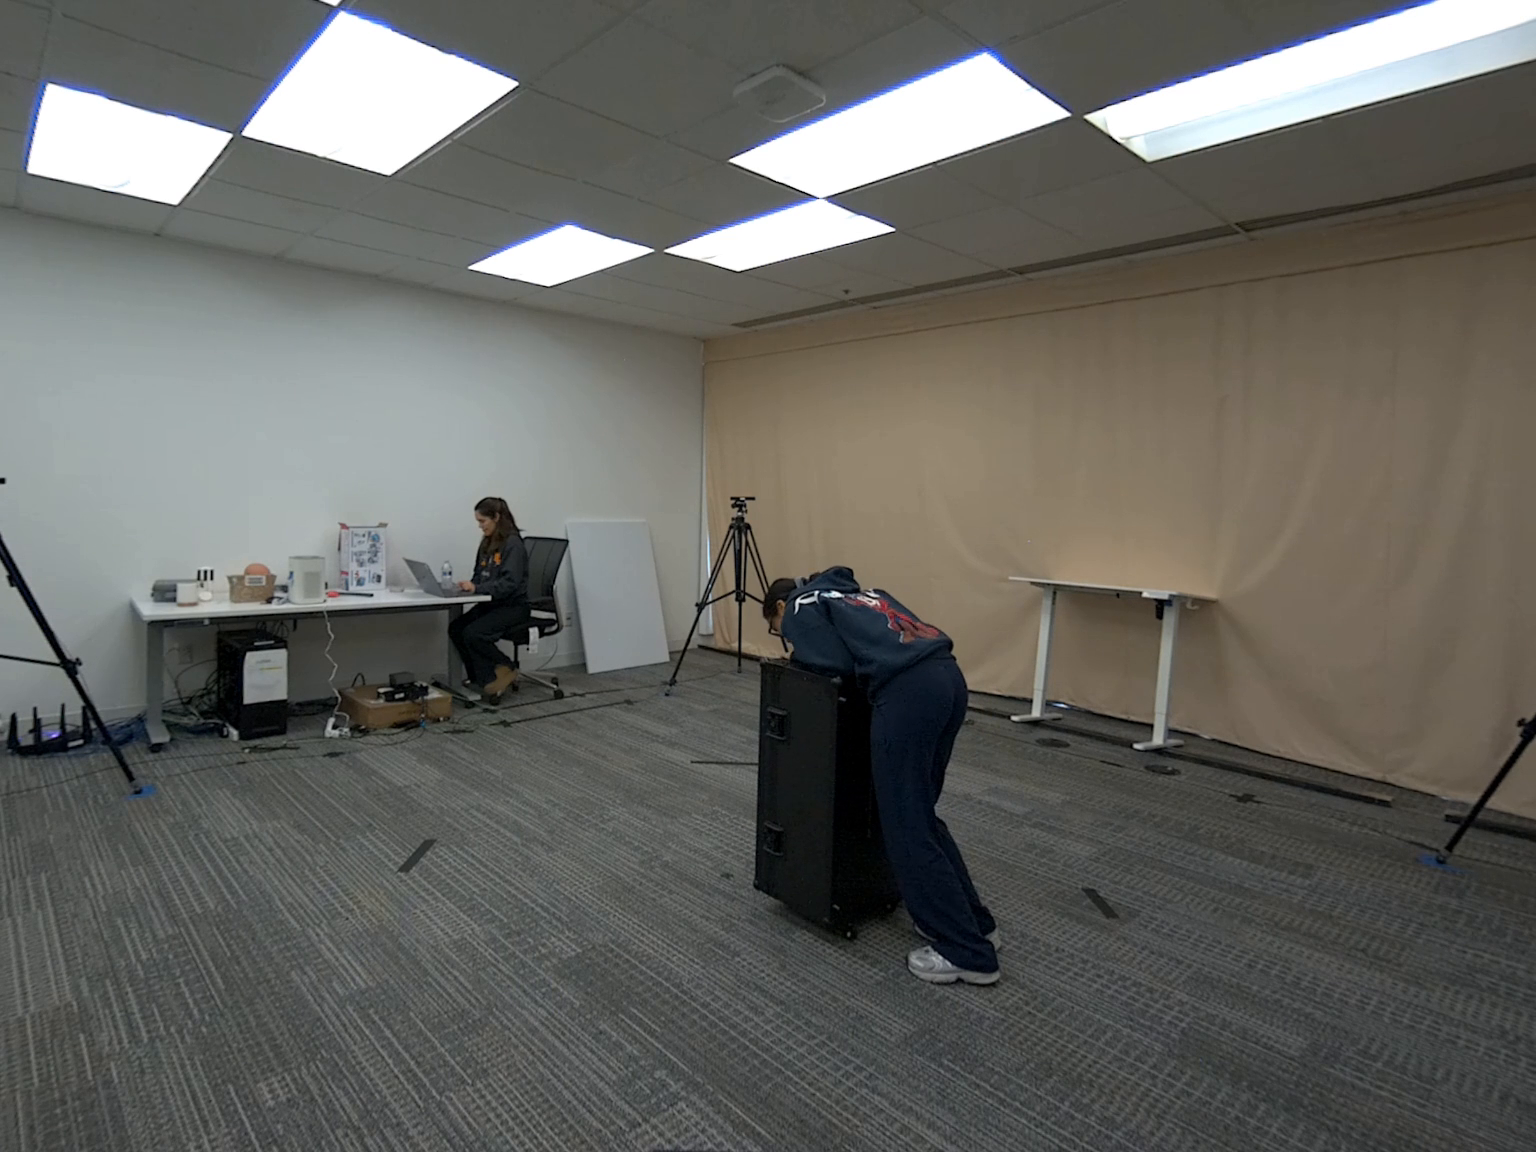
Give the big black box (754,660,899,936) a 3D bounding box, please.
[{"bbox_3d":[0.260,0.715,2.861,0.509,0.859,0.406,-1,5,-41],"label":"big black box"}]
